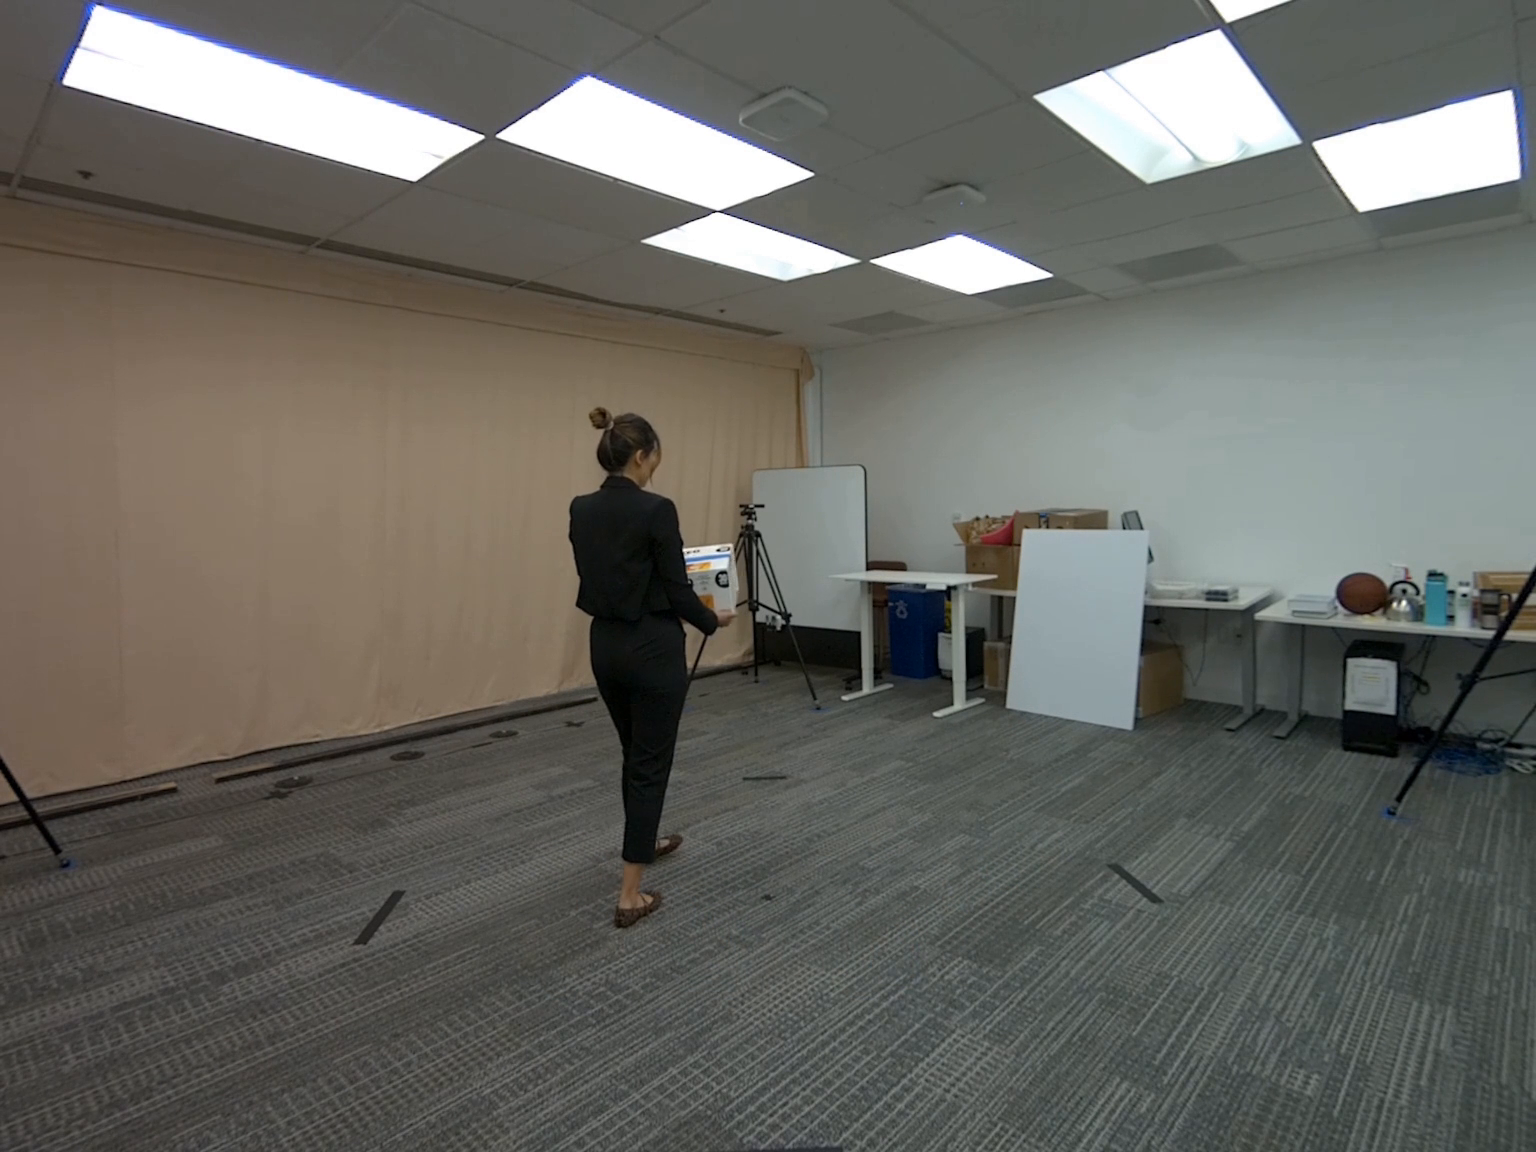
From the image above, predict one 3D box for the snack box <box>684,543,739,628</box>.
[{"bbox_3d":[-0.336,0.039,3.250,0.408,0.203,0.342,-6,17,5],"label":"snack box"}]
